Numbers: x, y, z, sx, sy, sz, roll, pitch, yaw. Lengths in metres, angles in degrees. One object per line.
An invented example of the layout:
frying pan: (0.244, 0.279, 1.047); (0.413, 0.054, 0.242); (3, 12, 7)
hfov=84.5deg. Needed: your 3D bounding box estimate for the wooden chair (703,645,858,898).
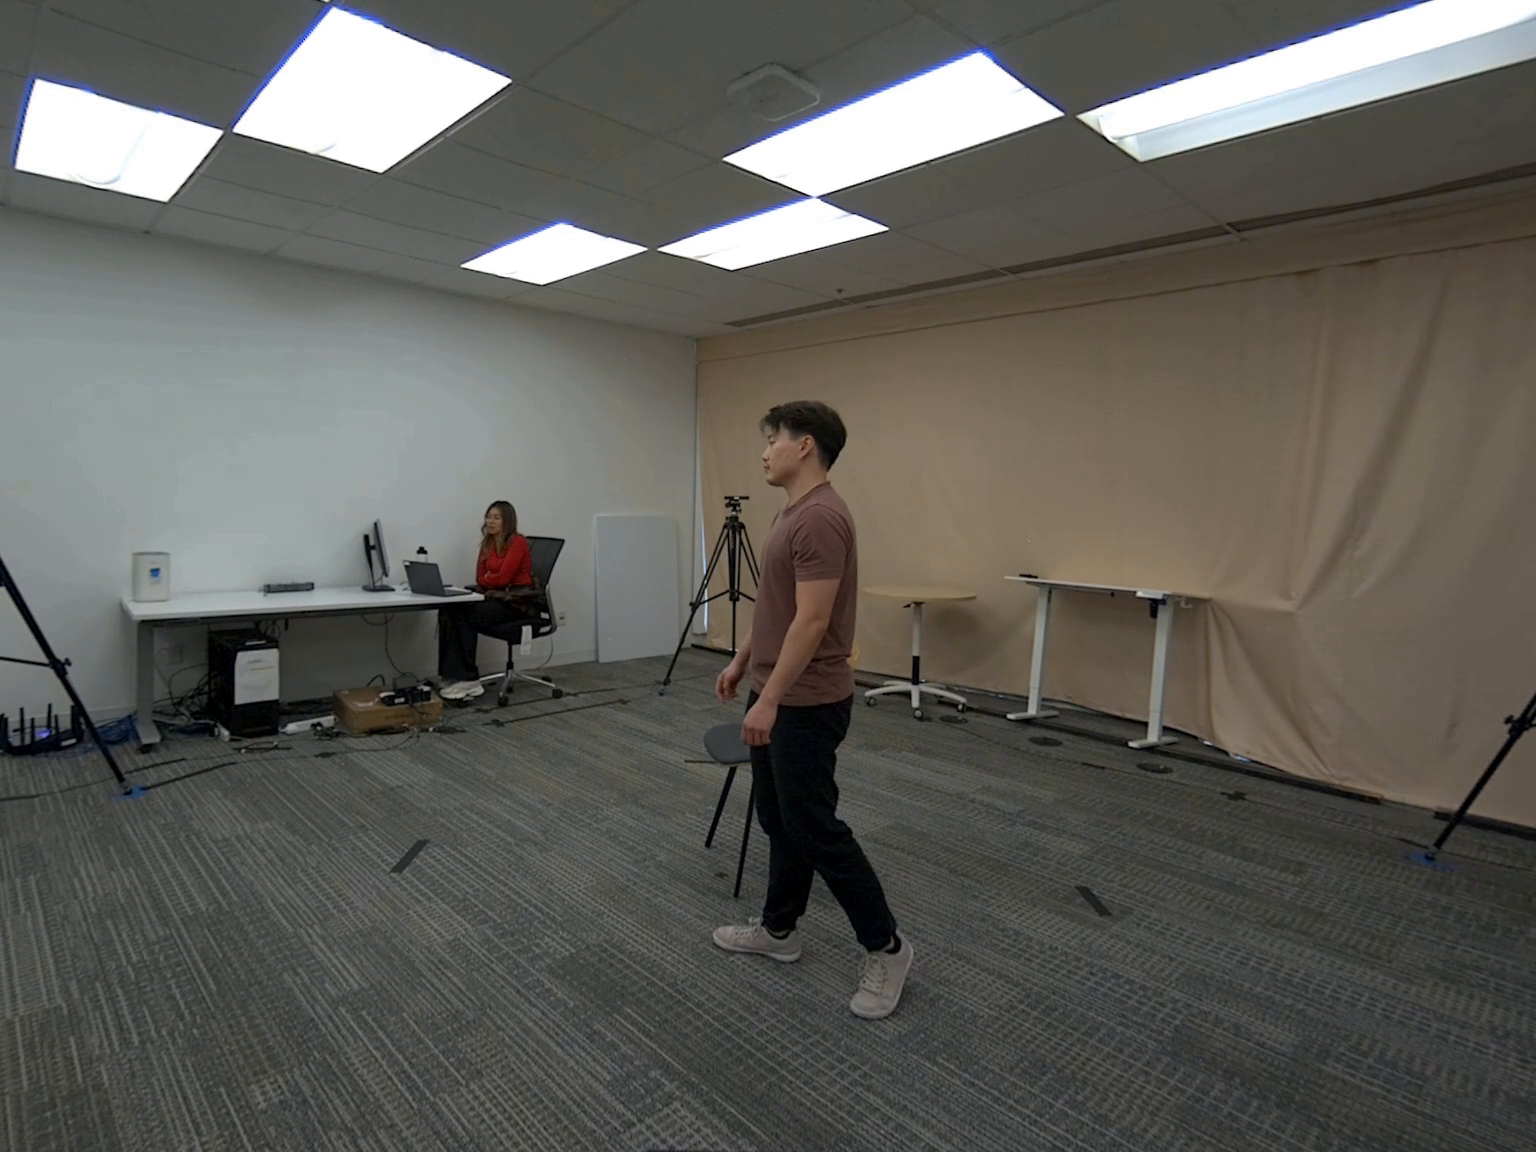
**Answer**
wooden chair: (0.033, 0.679, 3.162); (0.516, 0.876, 0.485); (4, 3, -17)
